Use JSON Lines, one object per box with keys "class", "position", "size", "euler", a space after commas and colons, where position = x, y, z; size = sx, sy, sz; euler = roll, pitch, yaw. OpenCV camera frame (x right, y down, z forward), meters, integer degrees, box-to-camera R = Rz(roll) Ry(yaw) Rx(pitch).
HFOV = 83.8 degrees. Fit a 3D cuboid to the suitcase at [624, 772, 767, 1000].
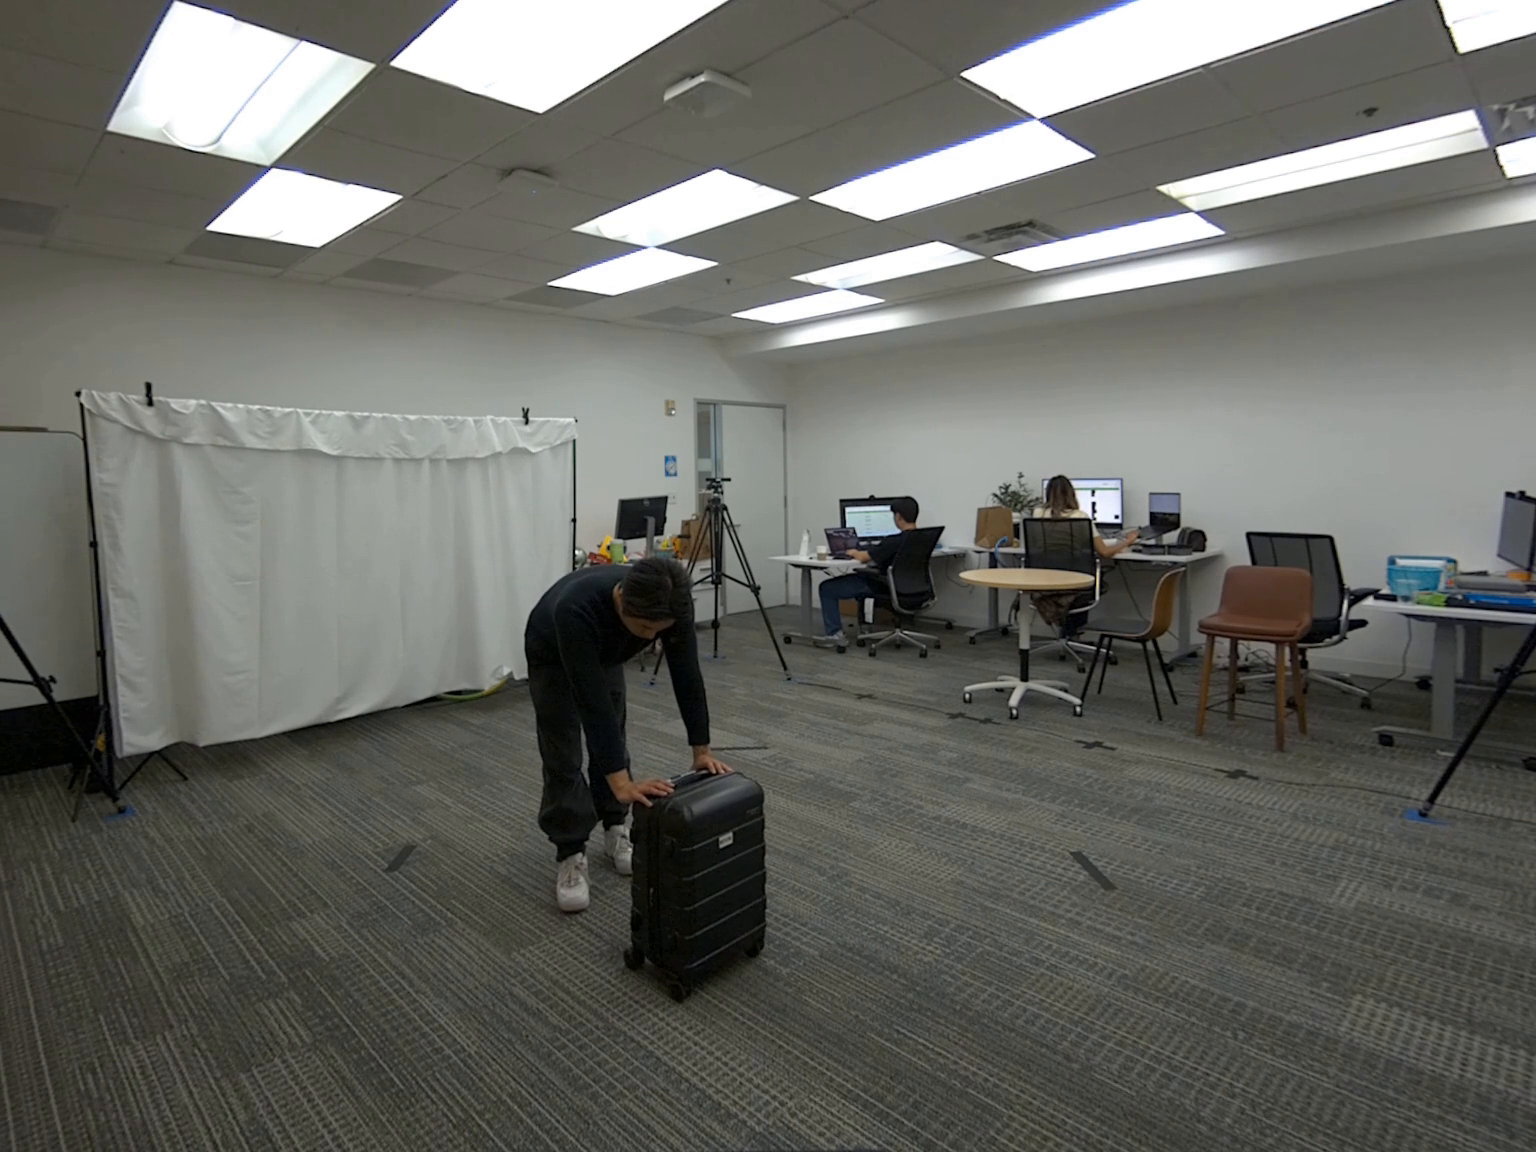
{"class": "suitcase", "position": [-0.194, 0.849, 2.457], "size": [0.256, 0.546, 0.365], "euler": [6, 8, 44]}
